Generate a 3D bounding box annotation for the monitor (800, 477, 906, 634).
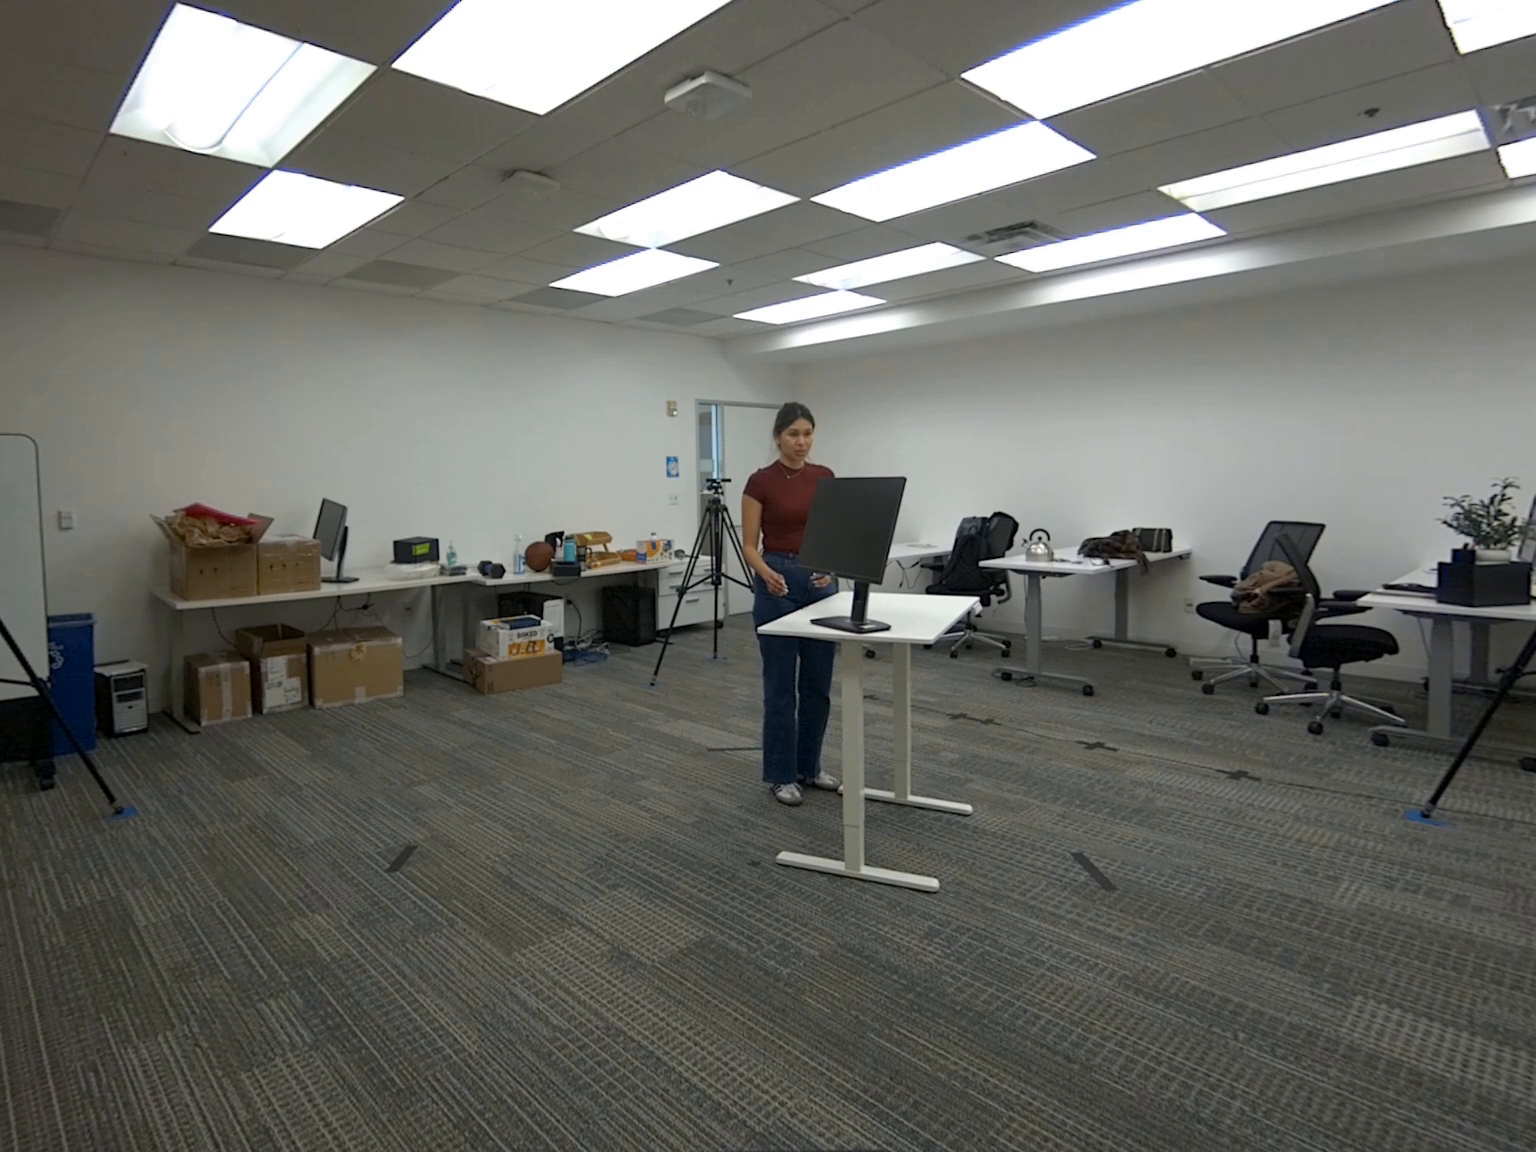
[{"bbox_3d":[0.293,-0.077,2.950,0.183,0.521,0.553,1,4,-27],"label":"monitor"}]
